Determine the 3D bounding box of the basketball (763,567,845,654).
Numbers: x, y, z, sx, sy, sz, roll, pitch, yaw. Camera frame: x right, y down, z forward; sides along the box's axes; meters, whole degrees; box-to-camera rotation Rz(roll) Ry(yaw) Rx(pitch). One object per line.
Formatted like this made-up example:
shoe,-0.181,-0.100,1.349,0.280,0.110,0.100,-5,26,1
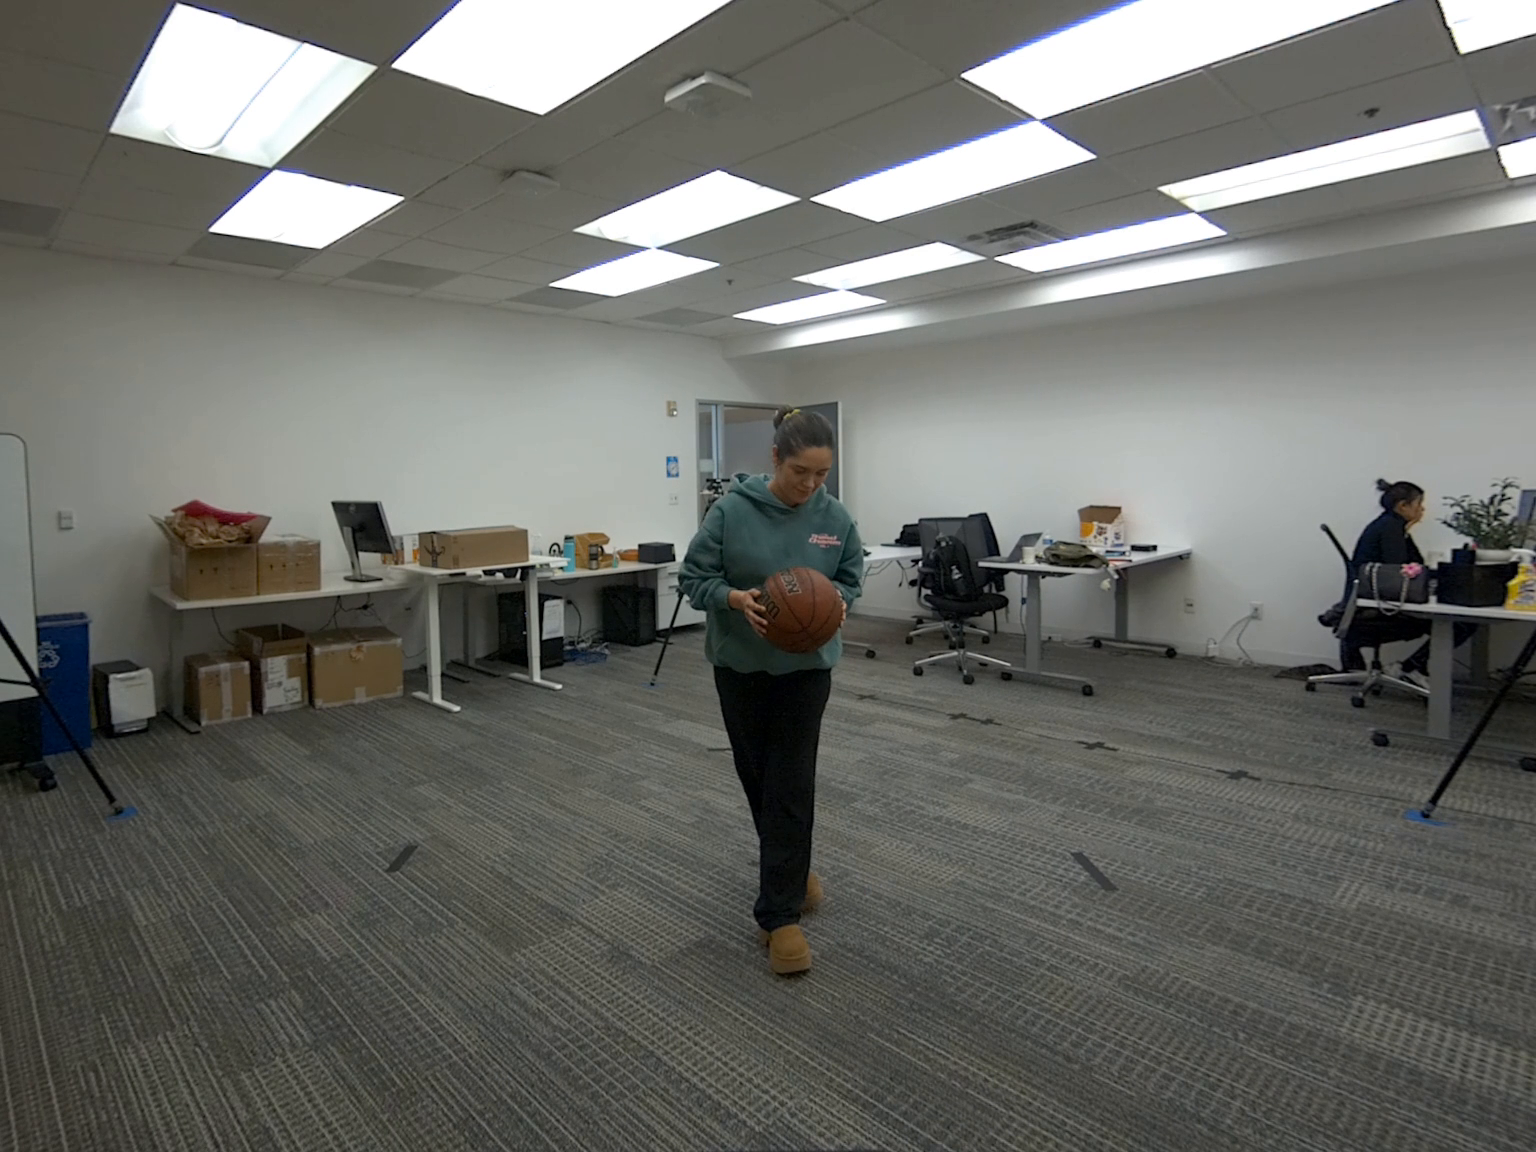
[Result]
basketball,0.088,0.090,2.326,0.236,0.235,0.237,-1,5,-2
